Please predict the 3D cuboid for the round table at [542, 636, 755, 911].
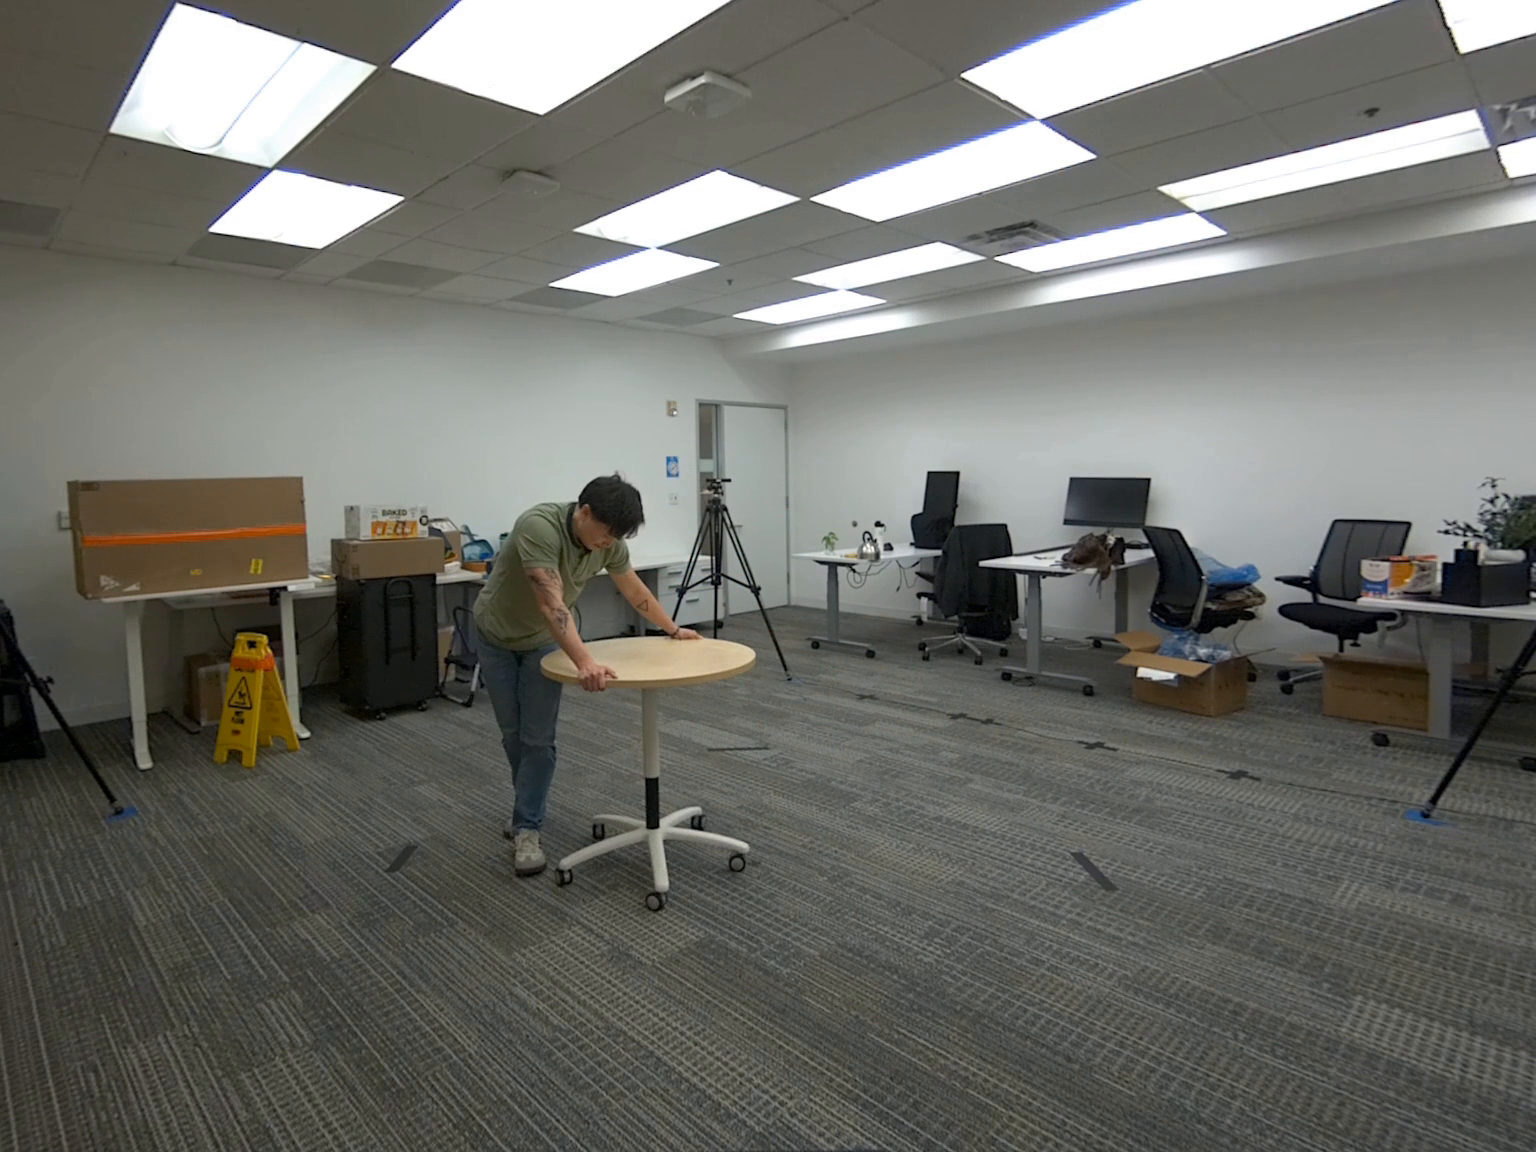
[{"bbox_3d":[-0.422,0.672,3.088,0.763,0.791,0.768,-1,4,-2],"label":"round table"}]
